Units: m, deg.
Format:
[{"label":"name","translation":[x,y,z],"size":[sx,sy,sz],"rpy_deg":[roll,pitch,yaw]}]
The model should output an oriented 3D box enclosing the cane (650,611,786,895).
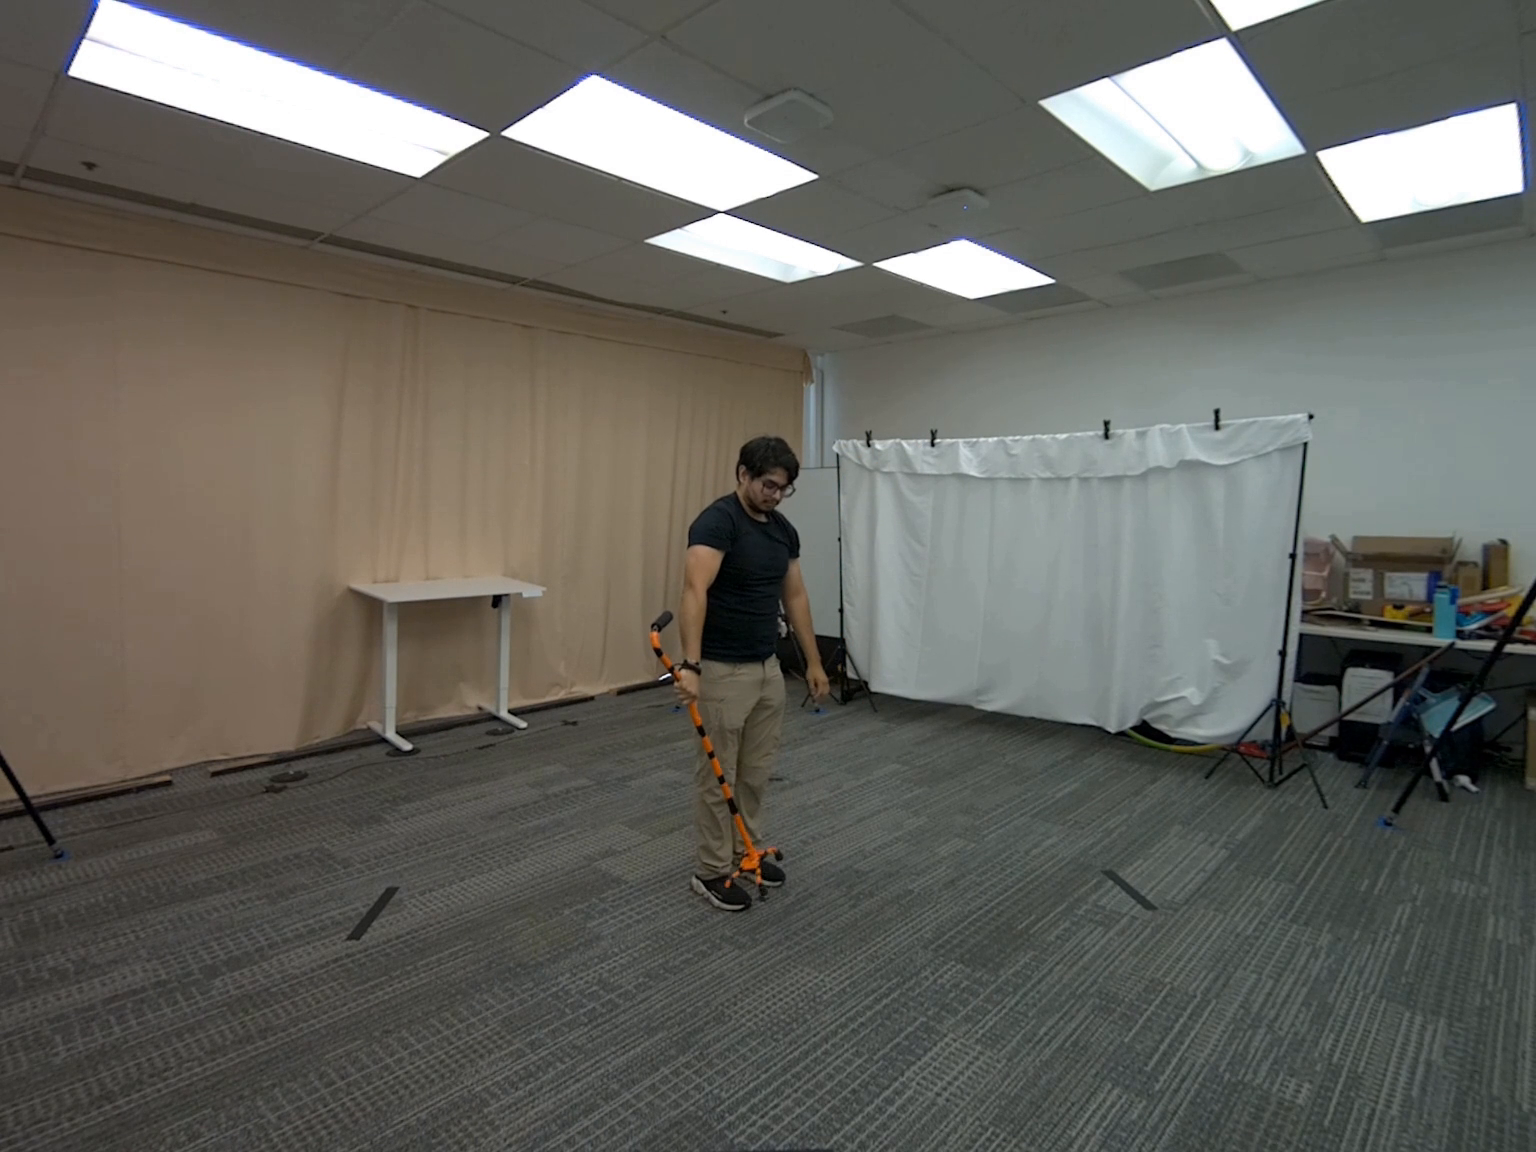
[{"label":"cane","translation":[-0.186,0.563,2.661],"size":[0.154,0.900,0.204],"rpy_deg":[-16,10,24]}]
